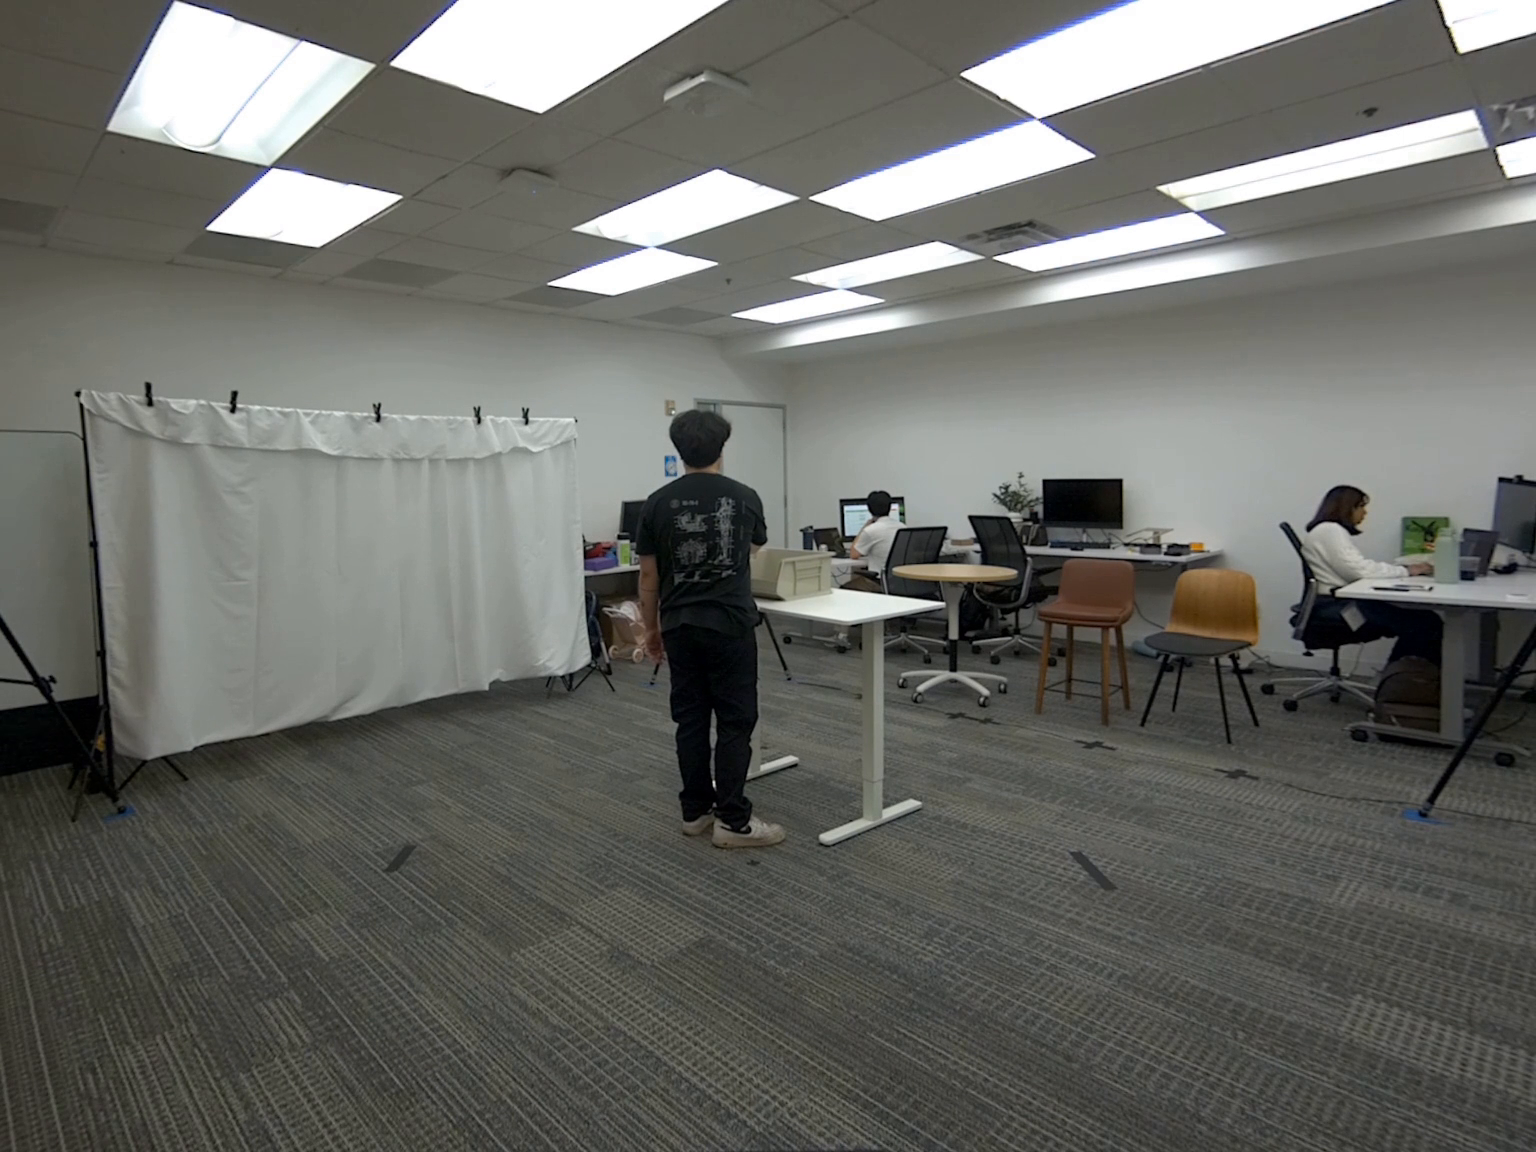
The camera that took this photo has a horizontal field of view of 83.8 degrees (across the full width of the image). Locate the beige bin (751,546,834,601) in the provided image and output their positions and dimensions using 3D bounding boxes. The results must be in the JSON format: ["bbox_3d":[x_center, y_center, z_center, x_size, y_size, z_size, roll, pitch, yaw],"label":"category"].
[{"bbox_3d":[0.023,-0.010,3.795,0.367,0.188,0.435,-6,8,-44],"label":"beige bin"}]
